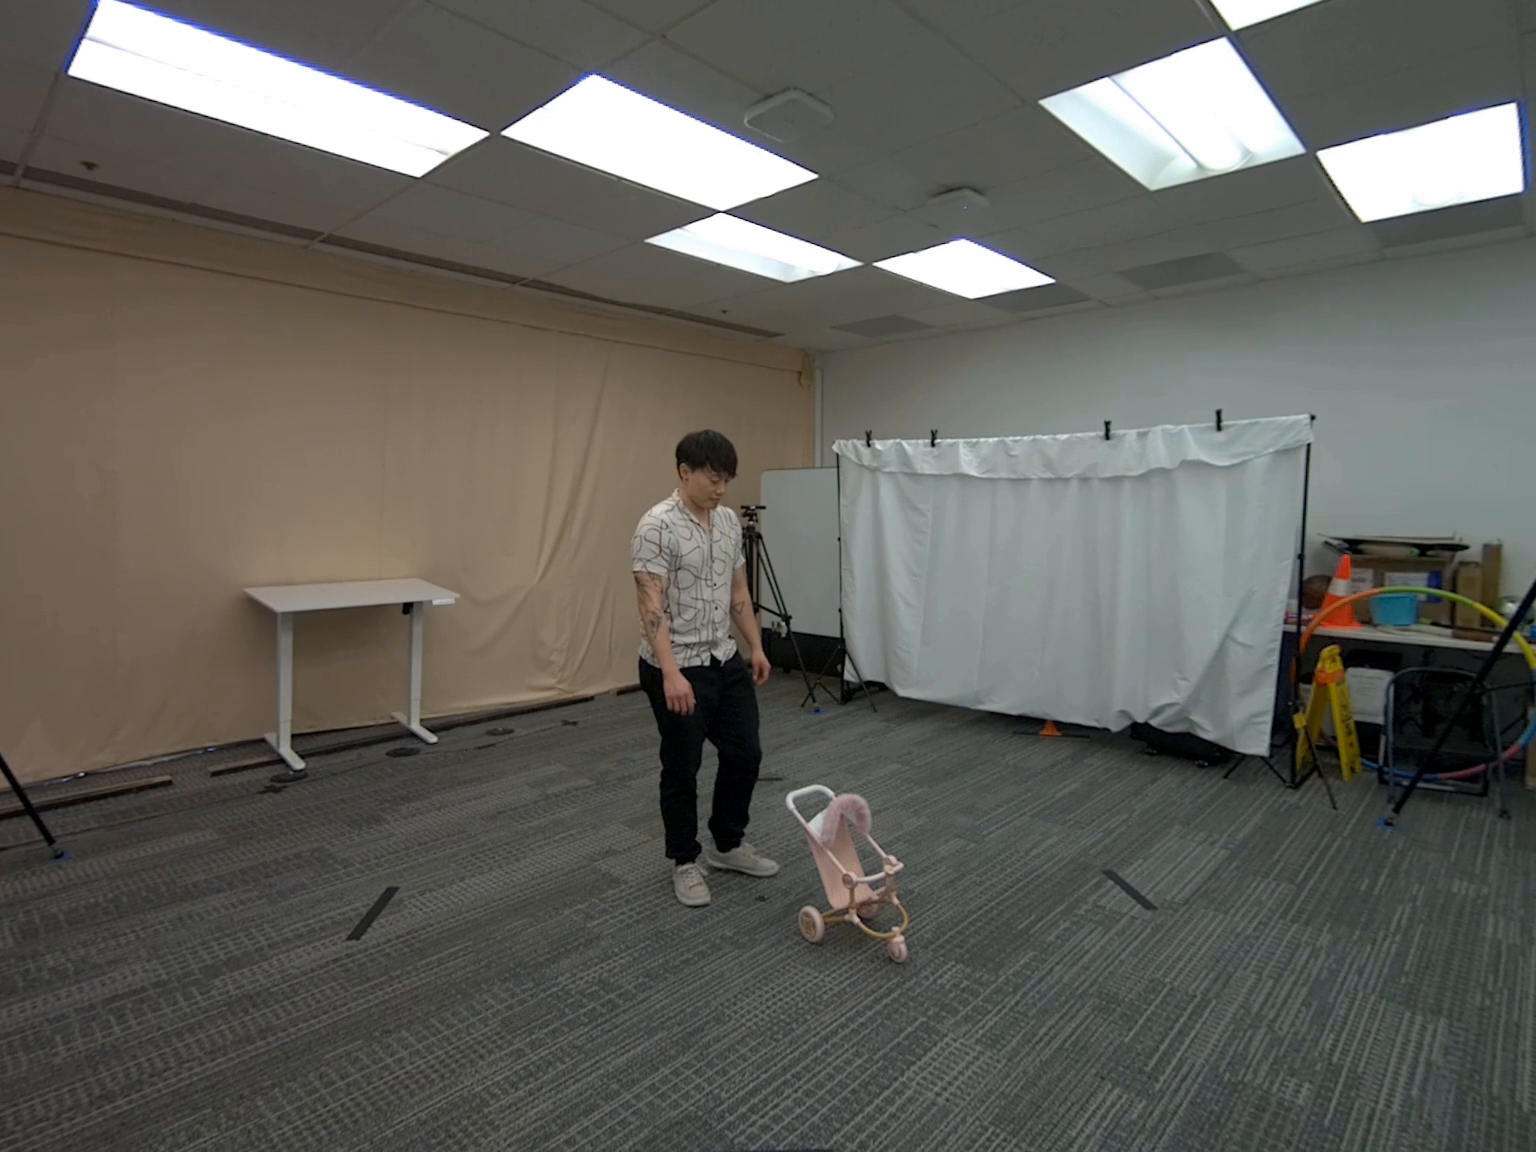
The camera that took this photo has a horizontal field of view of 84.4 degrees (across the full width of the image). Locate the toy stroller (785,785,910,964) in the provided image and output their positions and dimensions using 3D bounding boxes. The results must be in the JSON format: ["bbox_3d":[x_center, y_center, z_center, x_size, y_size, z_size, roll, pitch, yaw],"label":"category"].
[{"bbox_3d":[0.277,0.943,2.708,0.273,0.540,0.348,-2,-13,-36],"label":"toy stroller"}]
